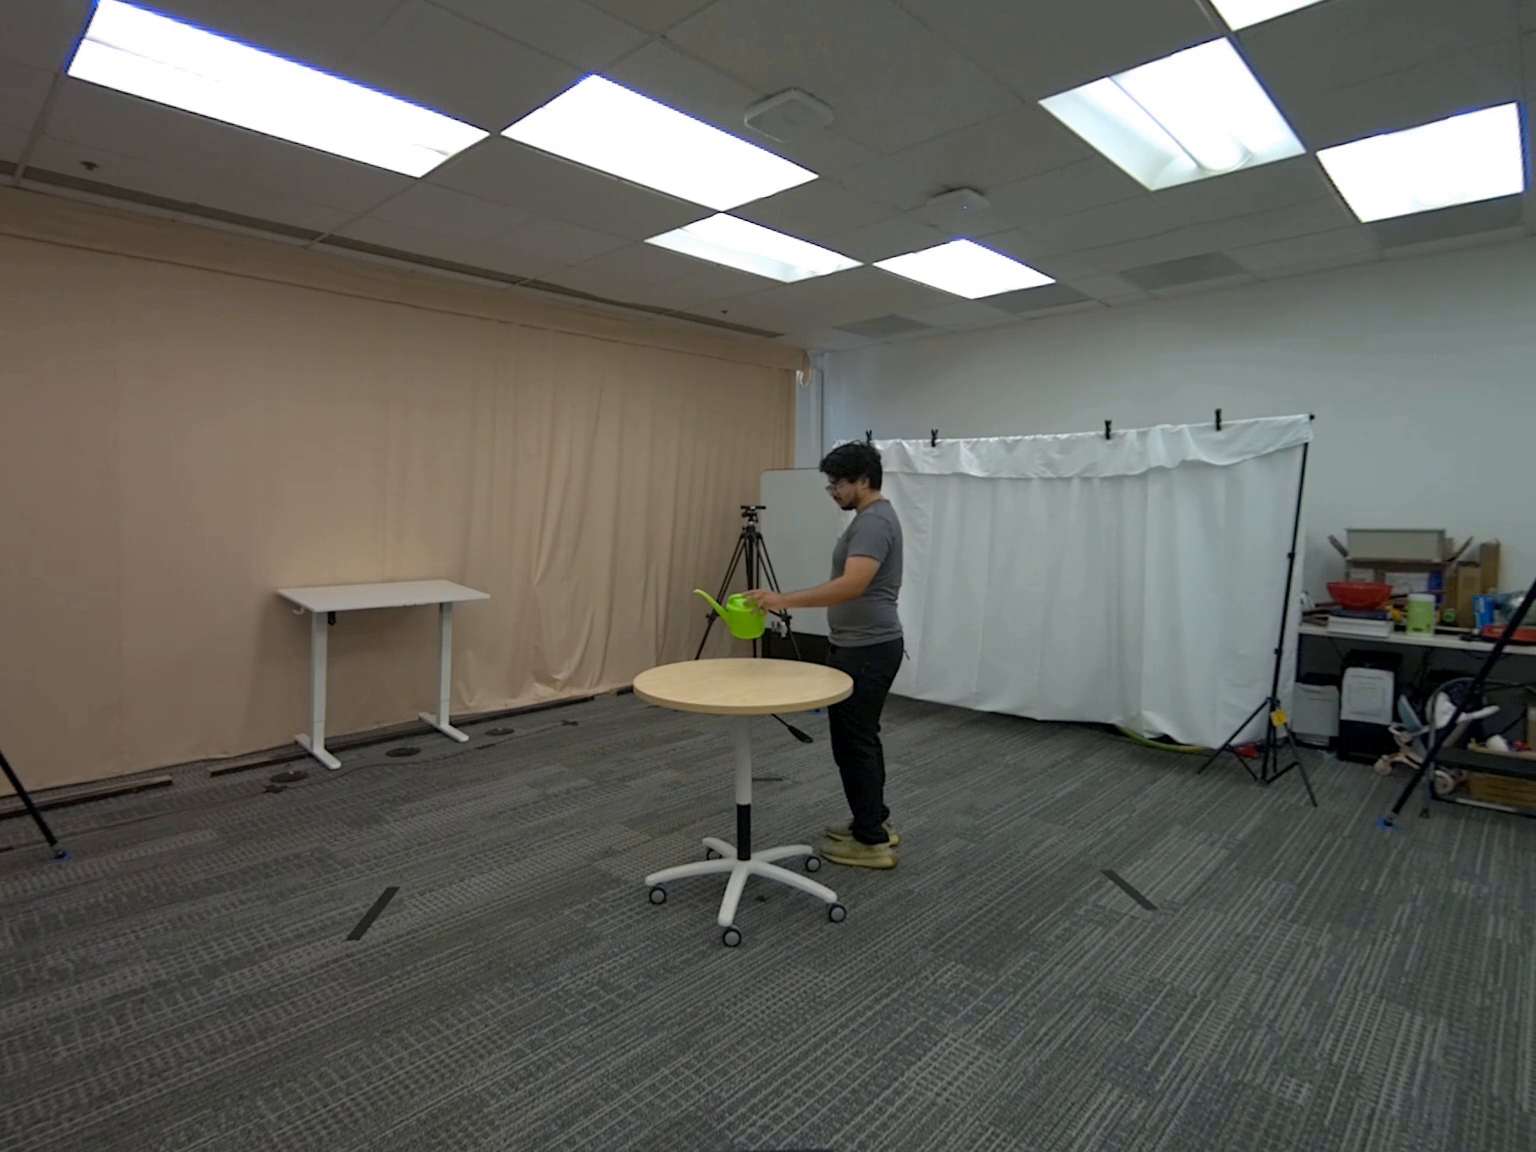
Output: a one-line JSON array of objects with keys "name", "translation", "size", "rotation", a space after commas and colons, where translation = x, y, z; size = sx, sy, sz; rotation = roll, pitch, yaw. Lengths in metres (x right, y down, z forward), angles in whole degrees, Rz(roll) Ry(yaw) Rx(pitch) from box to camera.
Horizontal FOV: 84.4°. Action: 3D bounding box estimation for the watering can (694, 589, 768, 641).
[{"name": "watering can", "translation": [-0.120, 0.134, 3.148], "size": [0.286, 0.173, 0.097], "rotation": [12, 36, 27]}]
